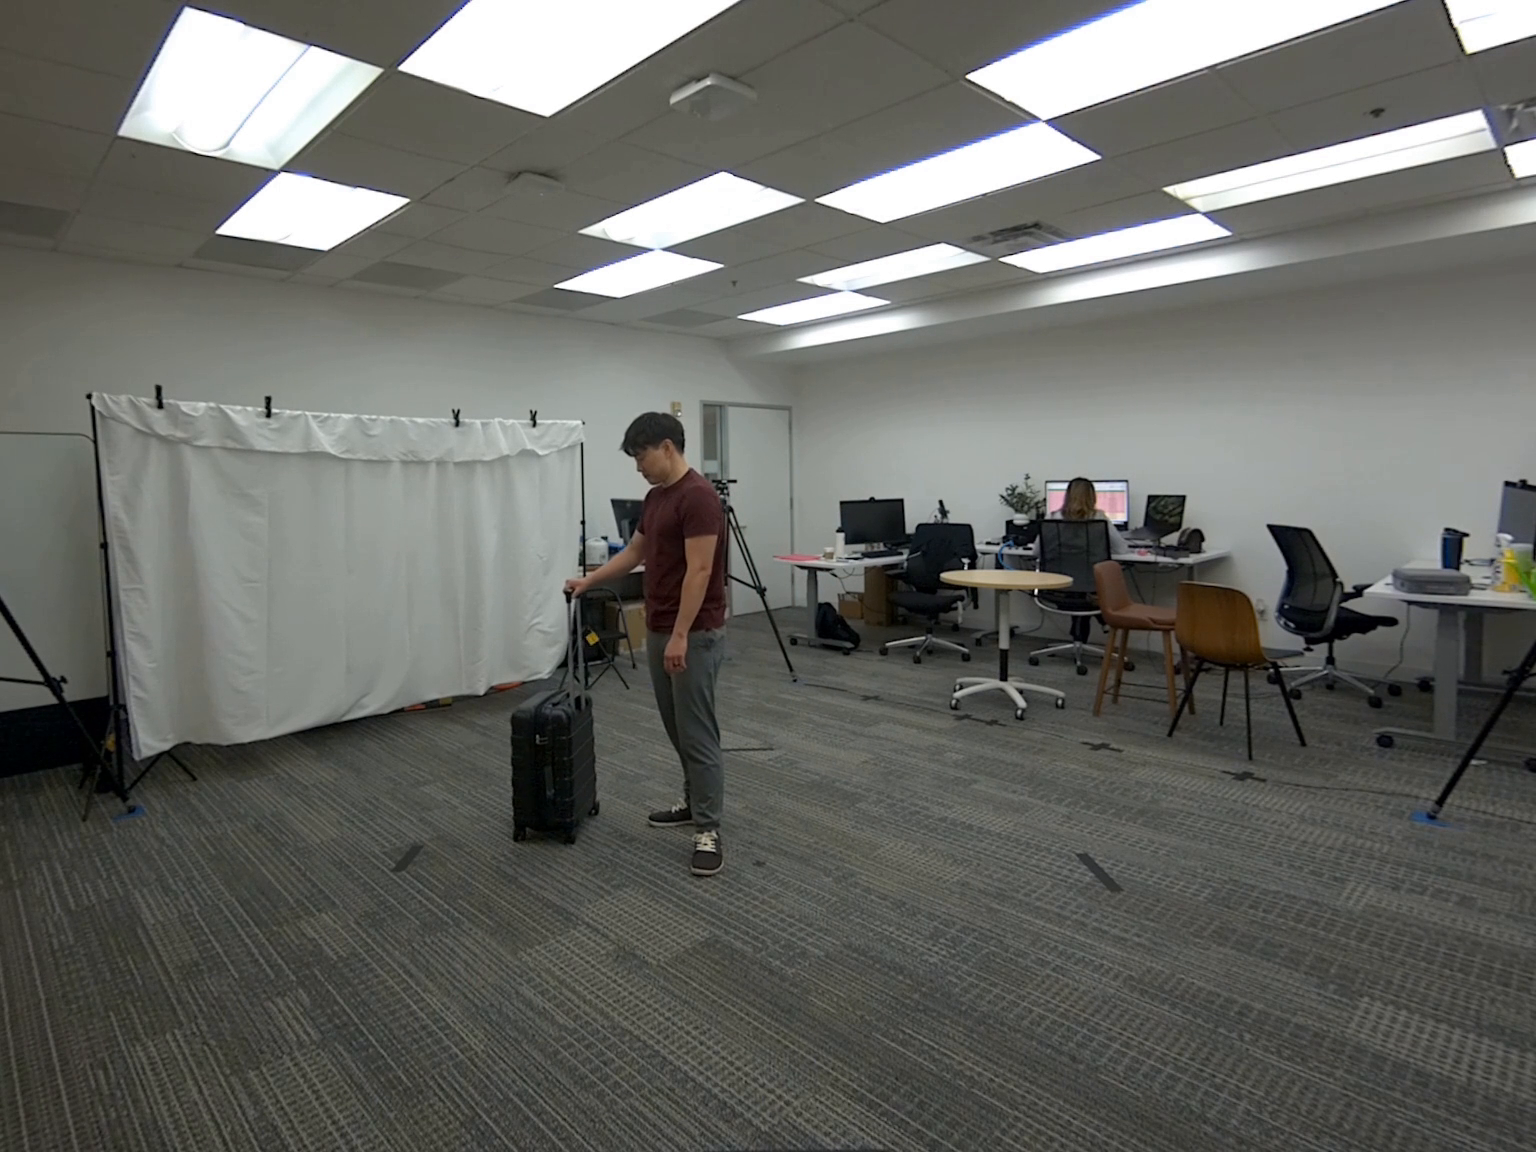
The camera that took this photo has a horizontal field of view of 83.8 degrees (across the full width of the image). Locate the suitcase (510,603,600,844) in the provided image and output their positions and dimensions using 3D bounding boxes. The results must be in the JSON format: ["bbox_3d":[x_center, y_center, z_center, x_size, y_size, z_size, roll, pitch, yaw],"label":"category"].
[{"bbox_3d":[-0.864,0.547,3.443,0.259,0.975,0.382,-2,4,7],"label":"suitcase"}]
